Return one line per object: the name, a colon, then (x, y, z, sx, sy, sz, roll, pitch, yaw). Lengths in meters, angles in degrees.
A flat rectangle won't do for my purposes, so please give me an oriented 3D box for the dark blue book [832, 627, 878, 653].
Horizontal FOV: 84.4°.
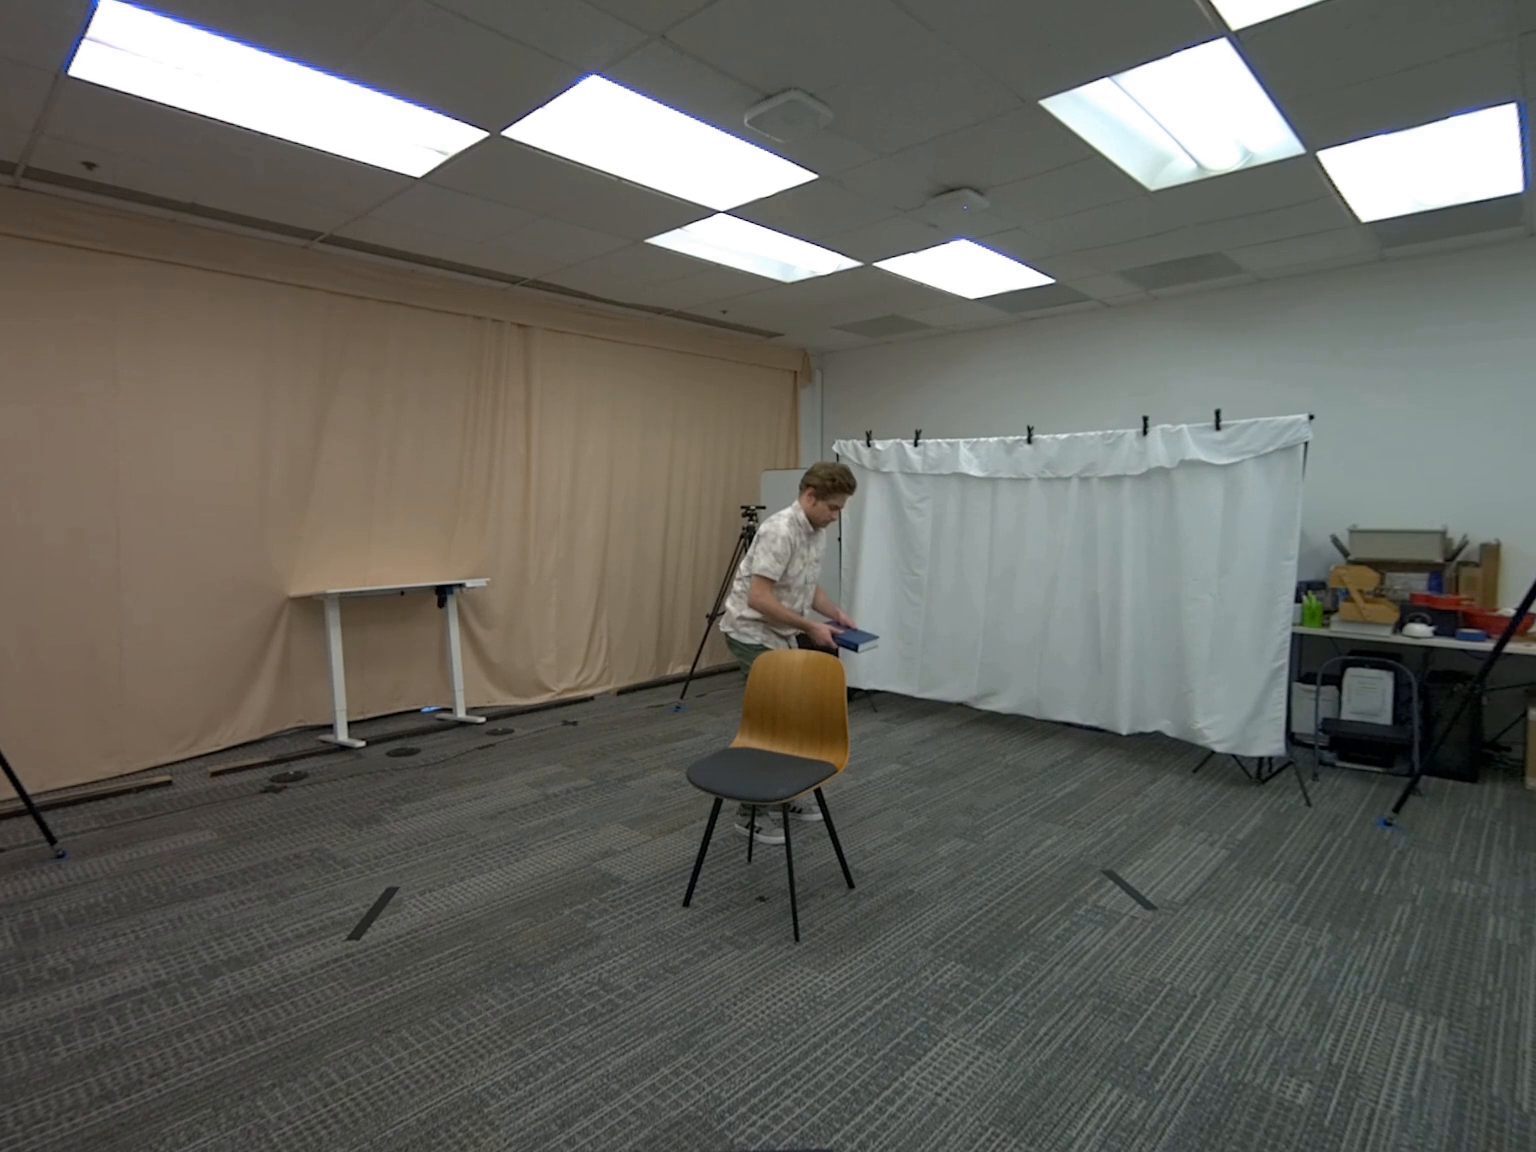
dark blue book: (0.335, 0.262, 3.527, 0.254, 0.045, 0.159, 16, 16, 37)
